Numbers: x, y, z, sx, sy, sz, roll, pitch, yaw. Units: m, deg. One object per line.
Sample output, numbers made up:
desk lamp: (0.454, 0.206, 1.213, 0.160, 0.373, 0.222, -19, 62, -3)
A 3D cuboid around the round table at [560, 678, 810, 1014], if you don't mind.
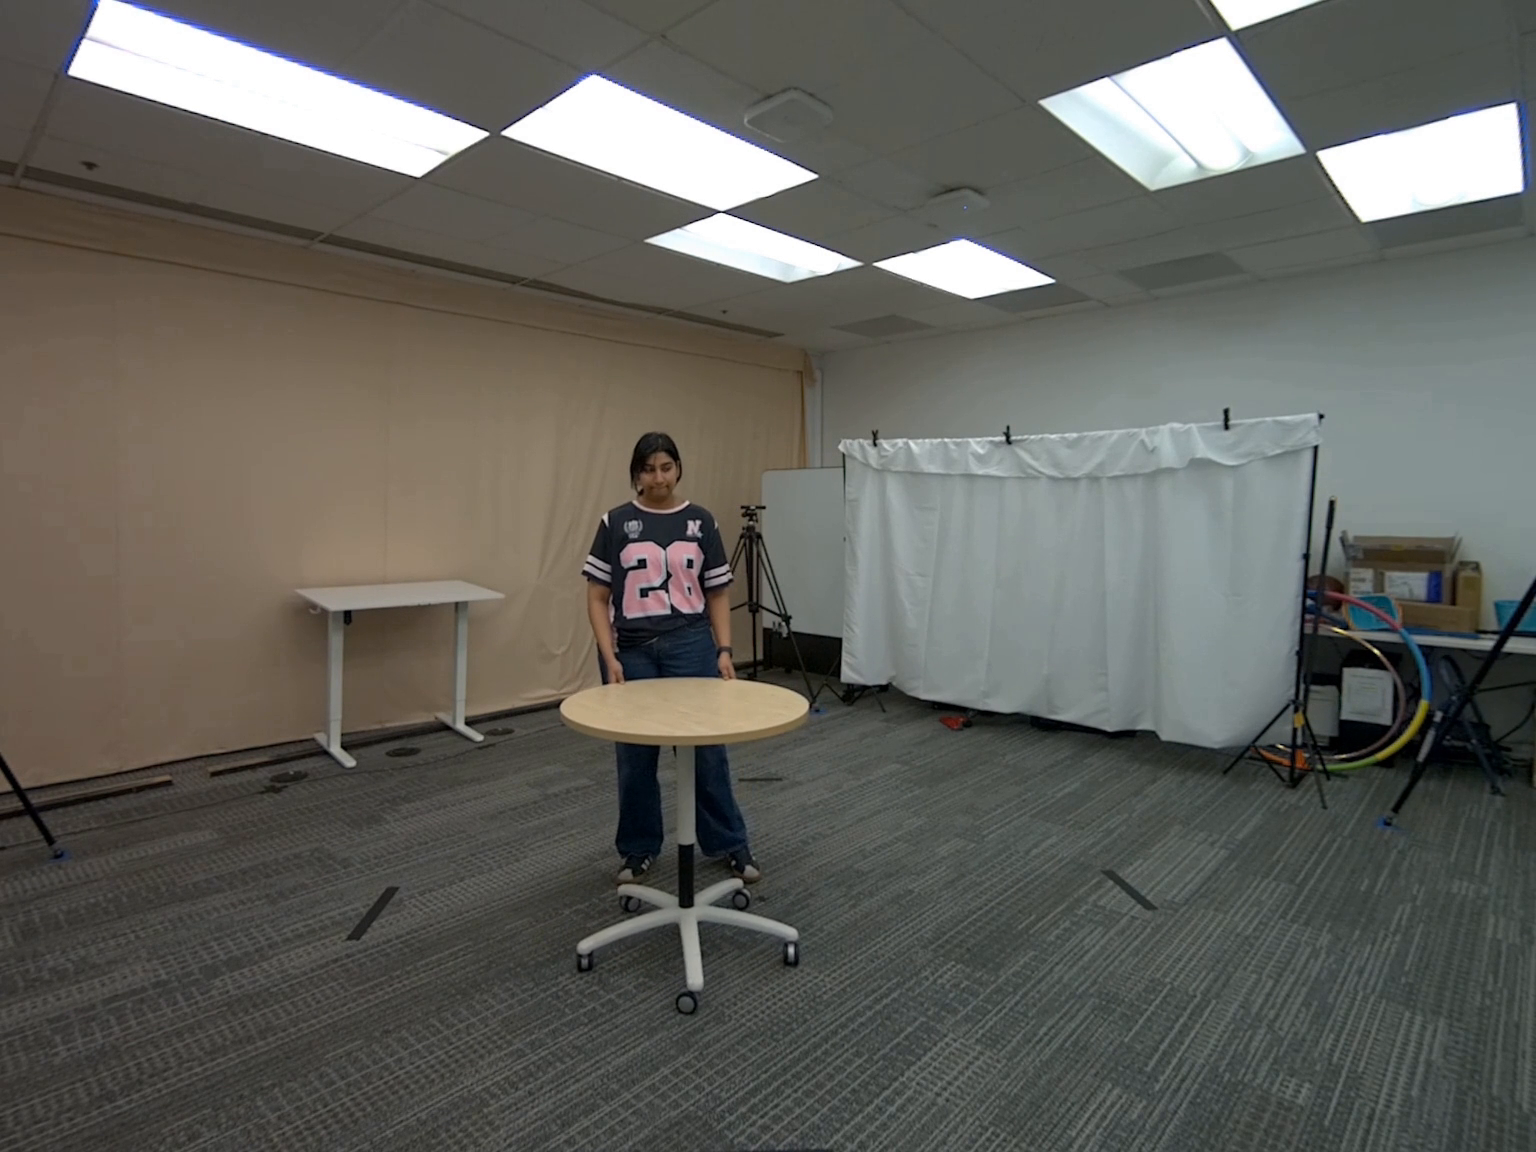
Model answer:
round table: (-0.256, 0.784, 2.632, 0.763, 0.792, 0.767, 0, 4, -2)
